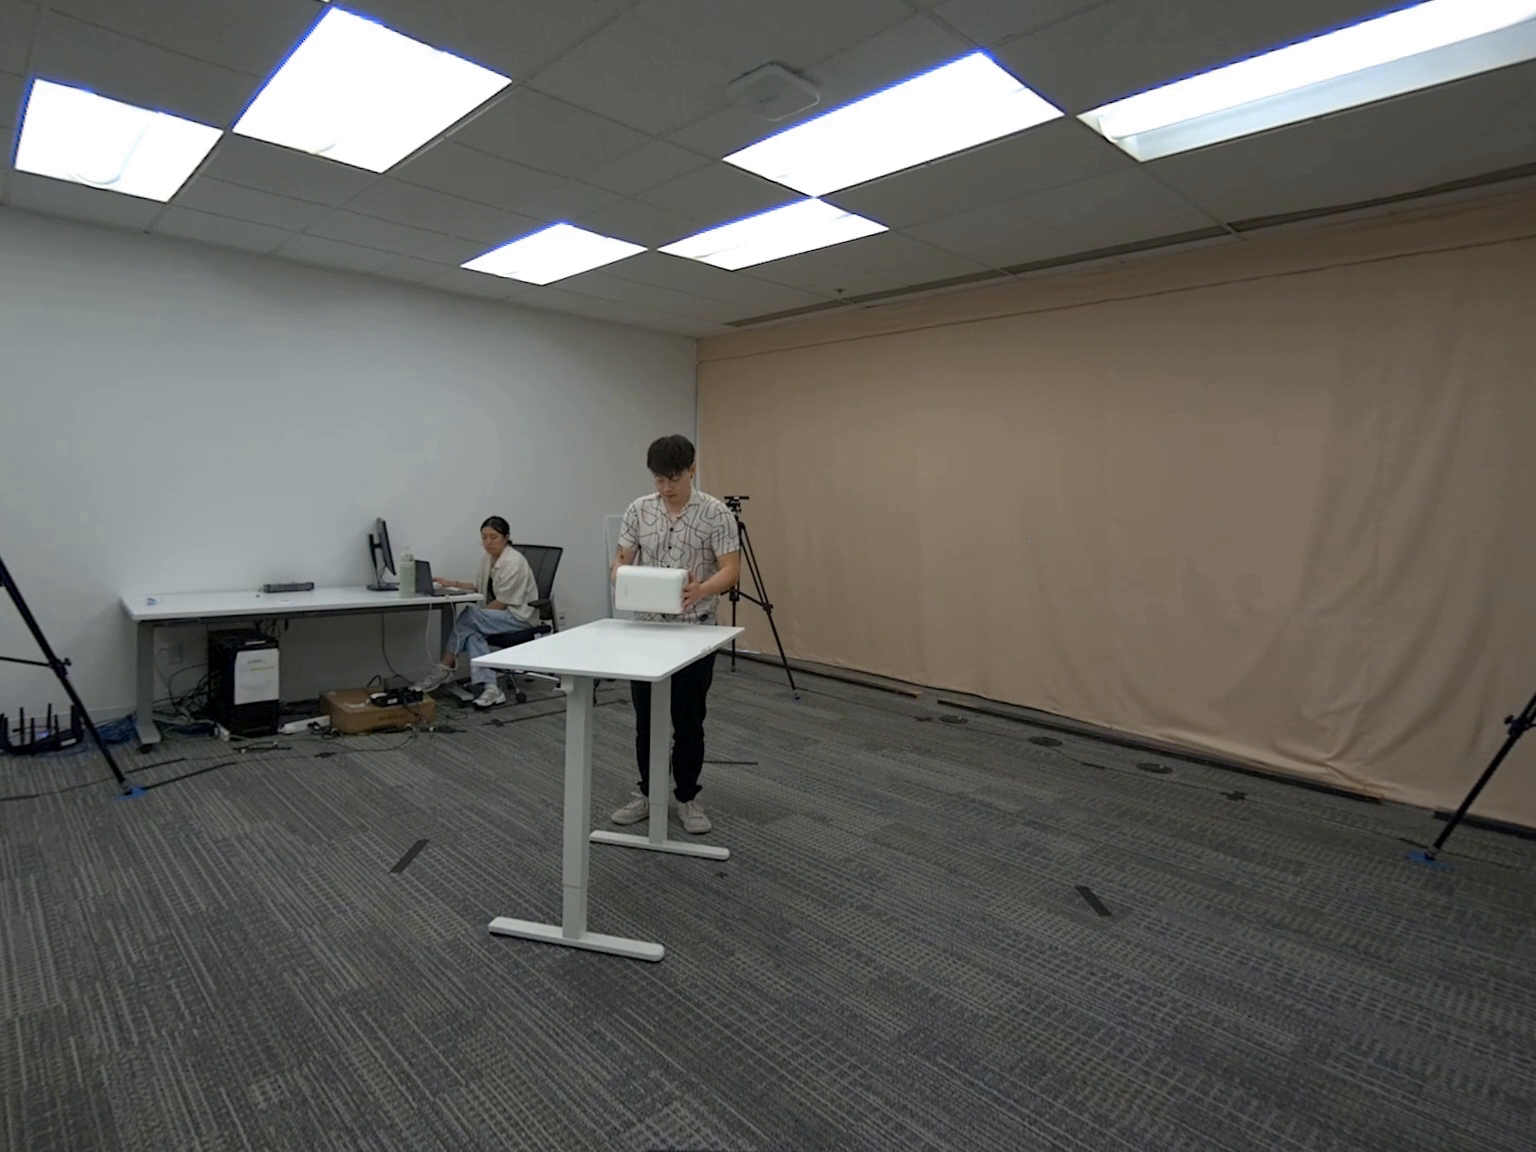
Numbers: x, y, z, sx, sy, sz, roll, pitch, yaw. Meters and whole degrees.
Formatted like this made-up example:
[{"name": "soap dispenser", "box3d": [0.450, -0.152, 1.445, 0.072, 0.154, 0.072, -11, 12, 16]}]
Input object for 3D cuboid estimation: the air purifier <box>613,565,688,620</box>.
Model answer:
[{"name": "air purifier", "box3d": [-0.446, 0.049, 3.278, 0.268, 0.170, 0.171, 5, 6, 10]}]
